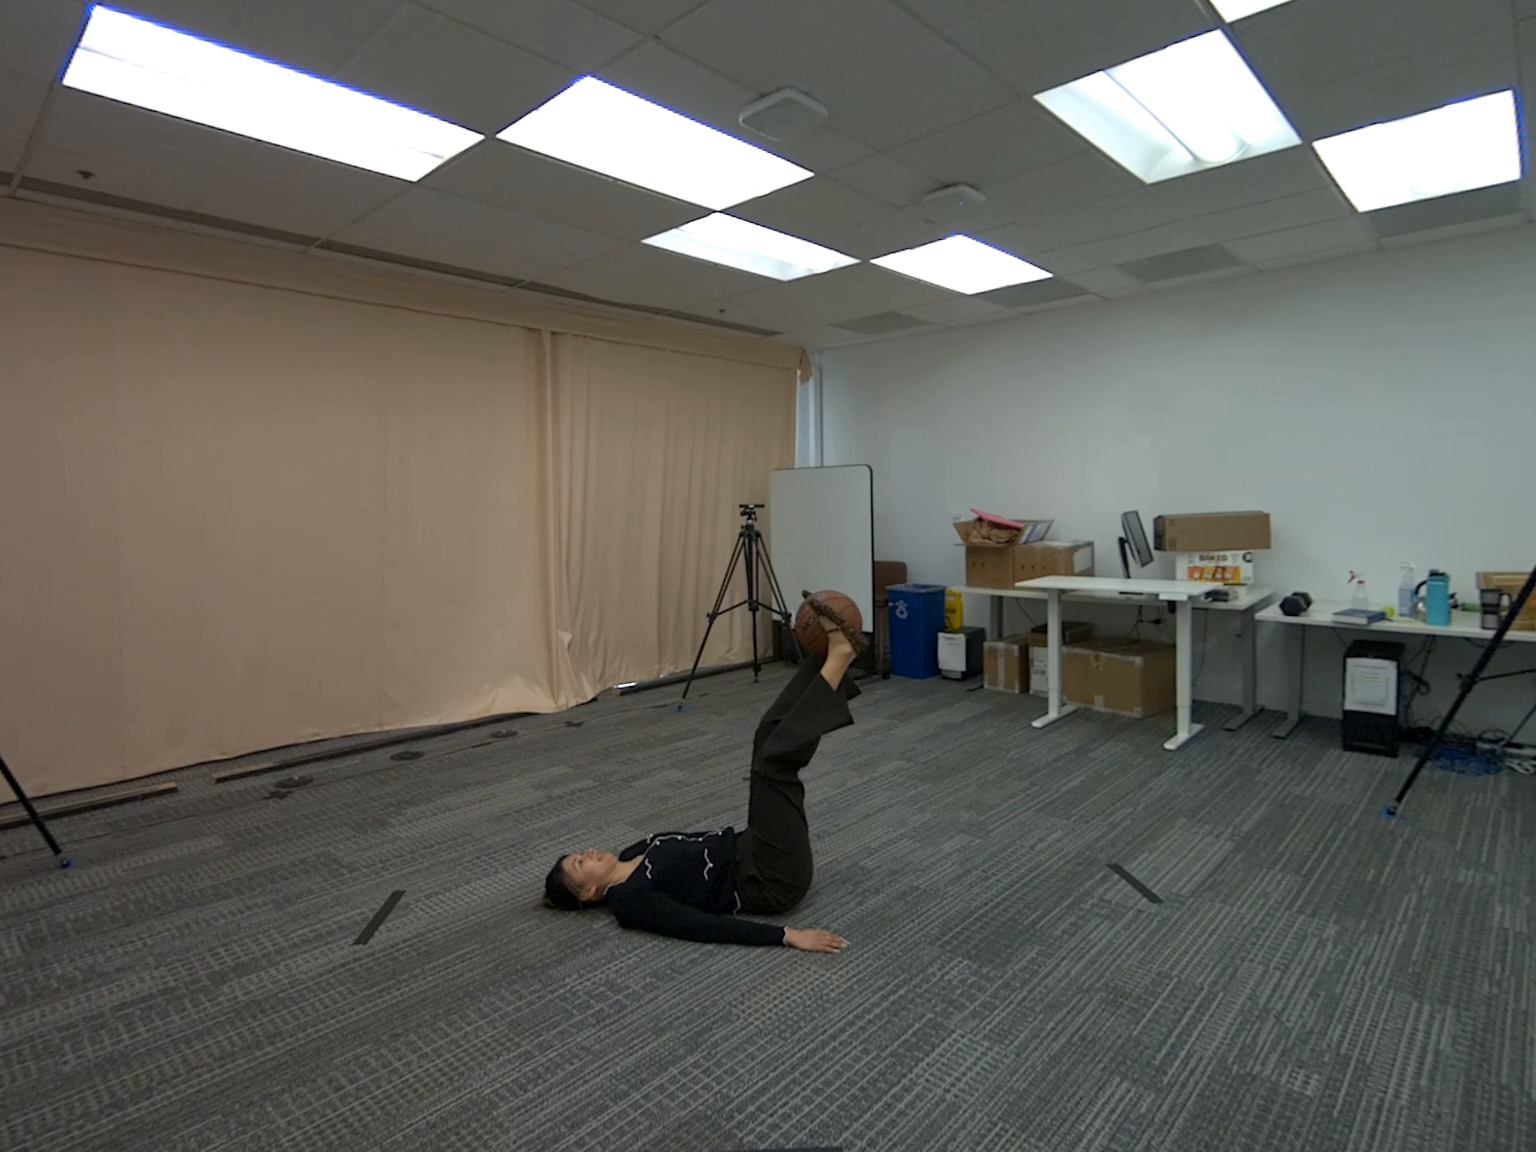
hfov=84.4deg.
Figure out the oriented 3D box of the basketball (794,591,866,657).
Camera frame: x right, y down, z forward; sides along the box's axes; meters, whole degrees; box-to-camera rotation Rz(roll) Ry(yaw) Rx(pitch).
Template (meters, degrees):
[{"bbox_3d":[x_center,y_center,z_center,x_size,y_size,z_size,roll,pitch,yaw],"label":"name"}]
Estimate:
[{"bbox_3d":[0.217,0.167,2.958,0.236,0.236,0.236,0,1,-2],"label":"basketball"}]
